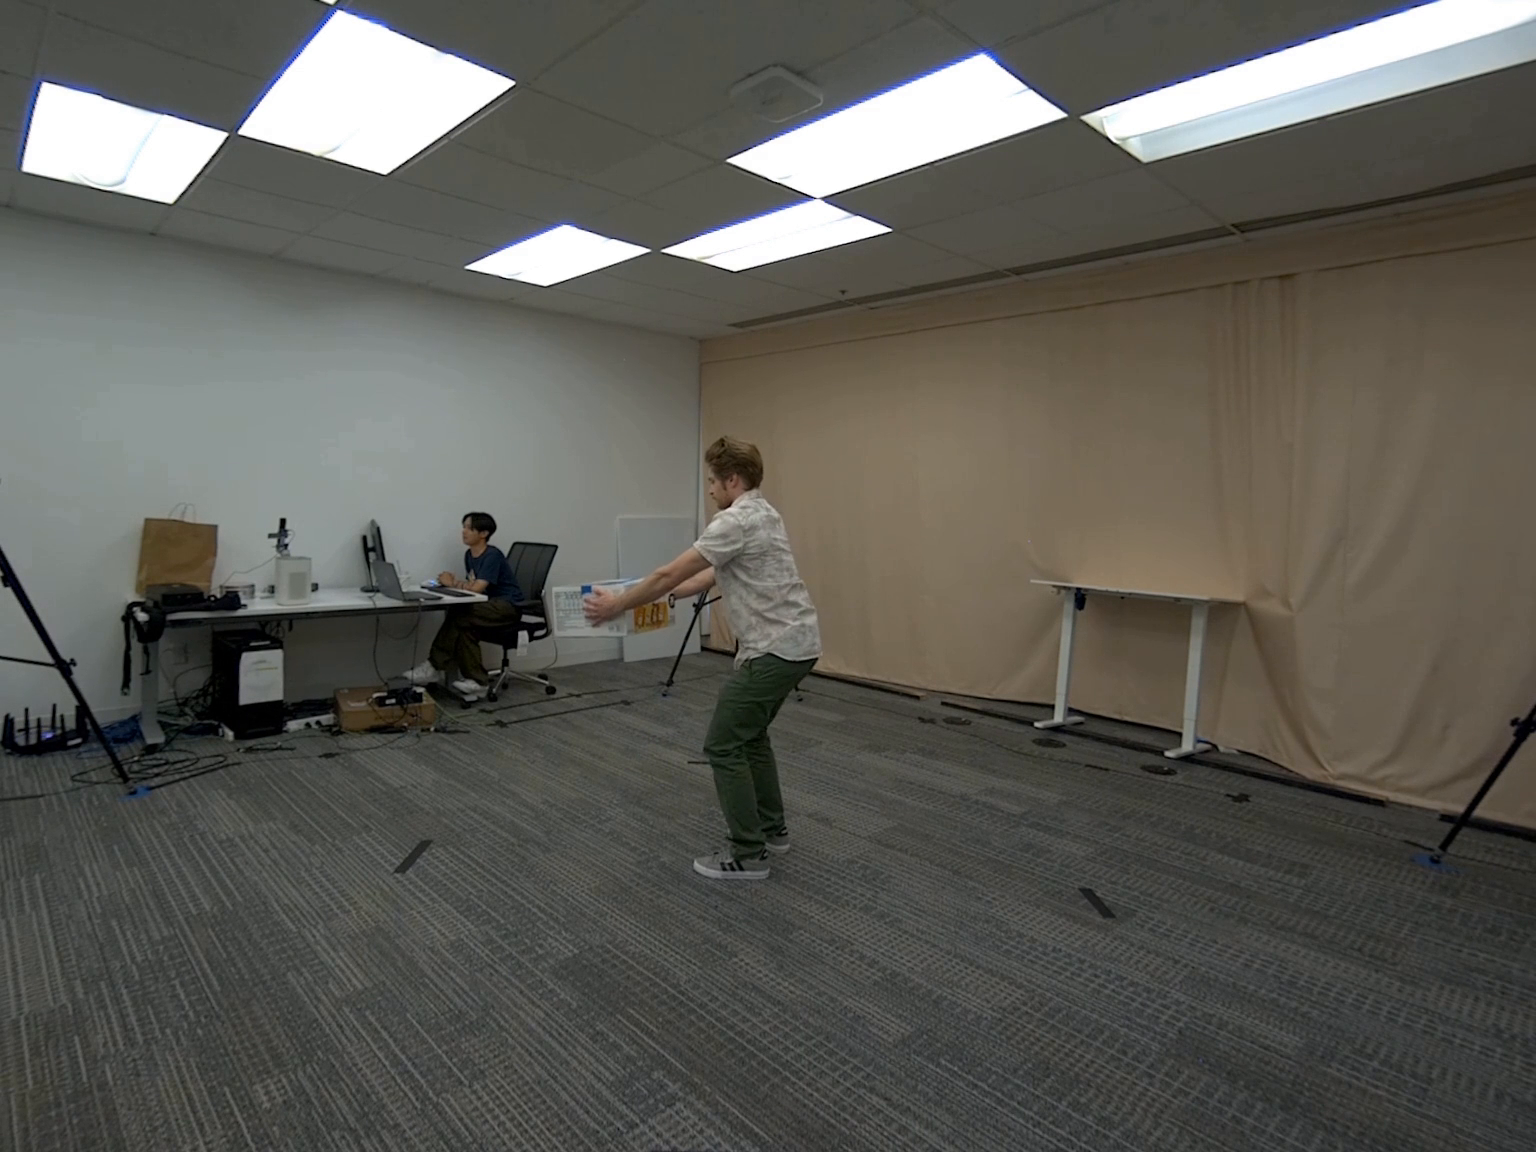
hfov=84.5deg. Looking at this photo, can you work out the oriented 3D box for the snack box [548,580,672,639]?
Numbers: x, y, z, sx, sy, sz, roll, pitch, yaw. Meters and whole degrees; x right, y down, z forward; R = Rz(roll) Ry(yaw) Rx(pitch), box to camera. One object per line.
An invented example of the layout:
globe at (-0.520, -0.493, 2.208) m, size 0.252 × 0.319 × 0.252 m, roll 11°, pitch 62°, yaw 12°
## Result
snack box at (-0.634, 0.130, 3.481) m, size 0.346 × 0.205 × 0.399 m, roll -3°, pitch 2°, yaw 22°
